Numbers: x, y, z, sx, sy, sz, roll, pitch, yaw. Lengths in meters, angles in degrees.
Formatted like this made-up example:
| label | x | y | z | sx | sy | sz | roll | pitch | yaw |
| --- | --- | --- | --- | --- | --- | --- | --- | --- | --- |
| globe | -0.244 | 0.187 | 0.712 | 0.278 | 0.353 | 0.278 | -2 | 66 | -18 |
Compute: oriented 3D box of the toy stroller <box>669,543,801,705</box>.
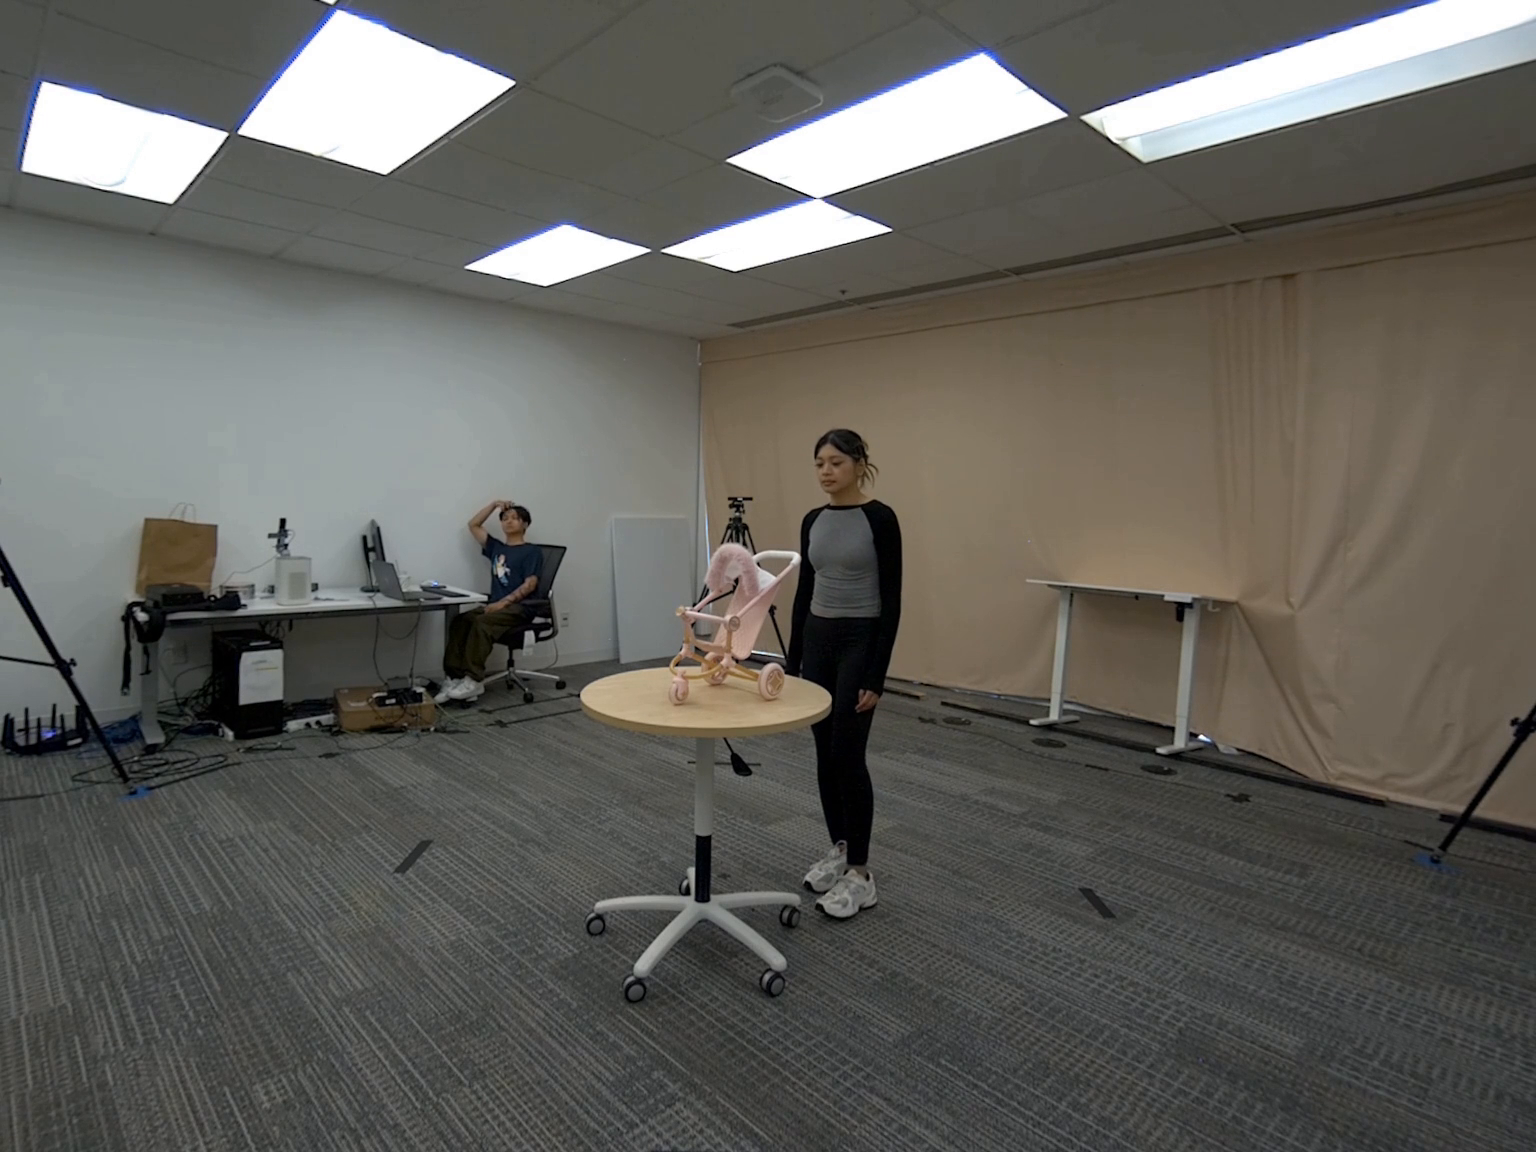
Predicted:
| label | x | y | z | sx | sy | sz | roll | pitch | yaw |
| --- | --- | --- | --- | --- | --- | --- | --- | --- | --- |
| toy stroller | -0.124 | 0.144 | 2.546 | 0.331 | 0.537 | 0.288 | 18 | -8 | -39 |
